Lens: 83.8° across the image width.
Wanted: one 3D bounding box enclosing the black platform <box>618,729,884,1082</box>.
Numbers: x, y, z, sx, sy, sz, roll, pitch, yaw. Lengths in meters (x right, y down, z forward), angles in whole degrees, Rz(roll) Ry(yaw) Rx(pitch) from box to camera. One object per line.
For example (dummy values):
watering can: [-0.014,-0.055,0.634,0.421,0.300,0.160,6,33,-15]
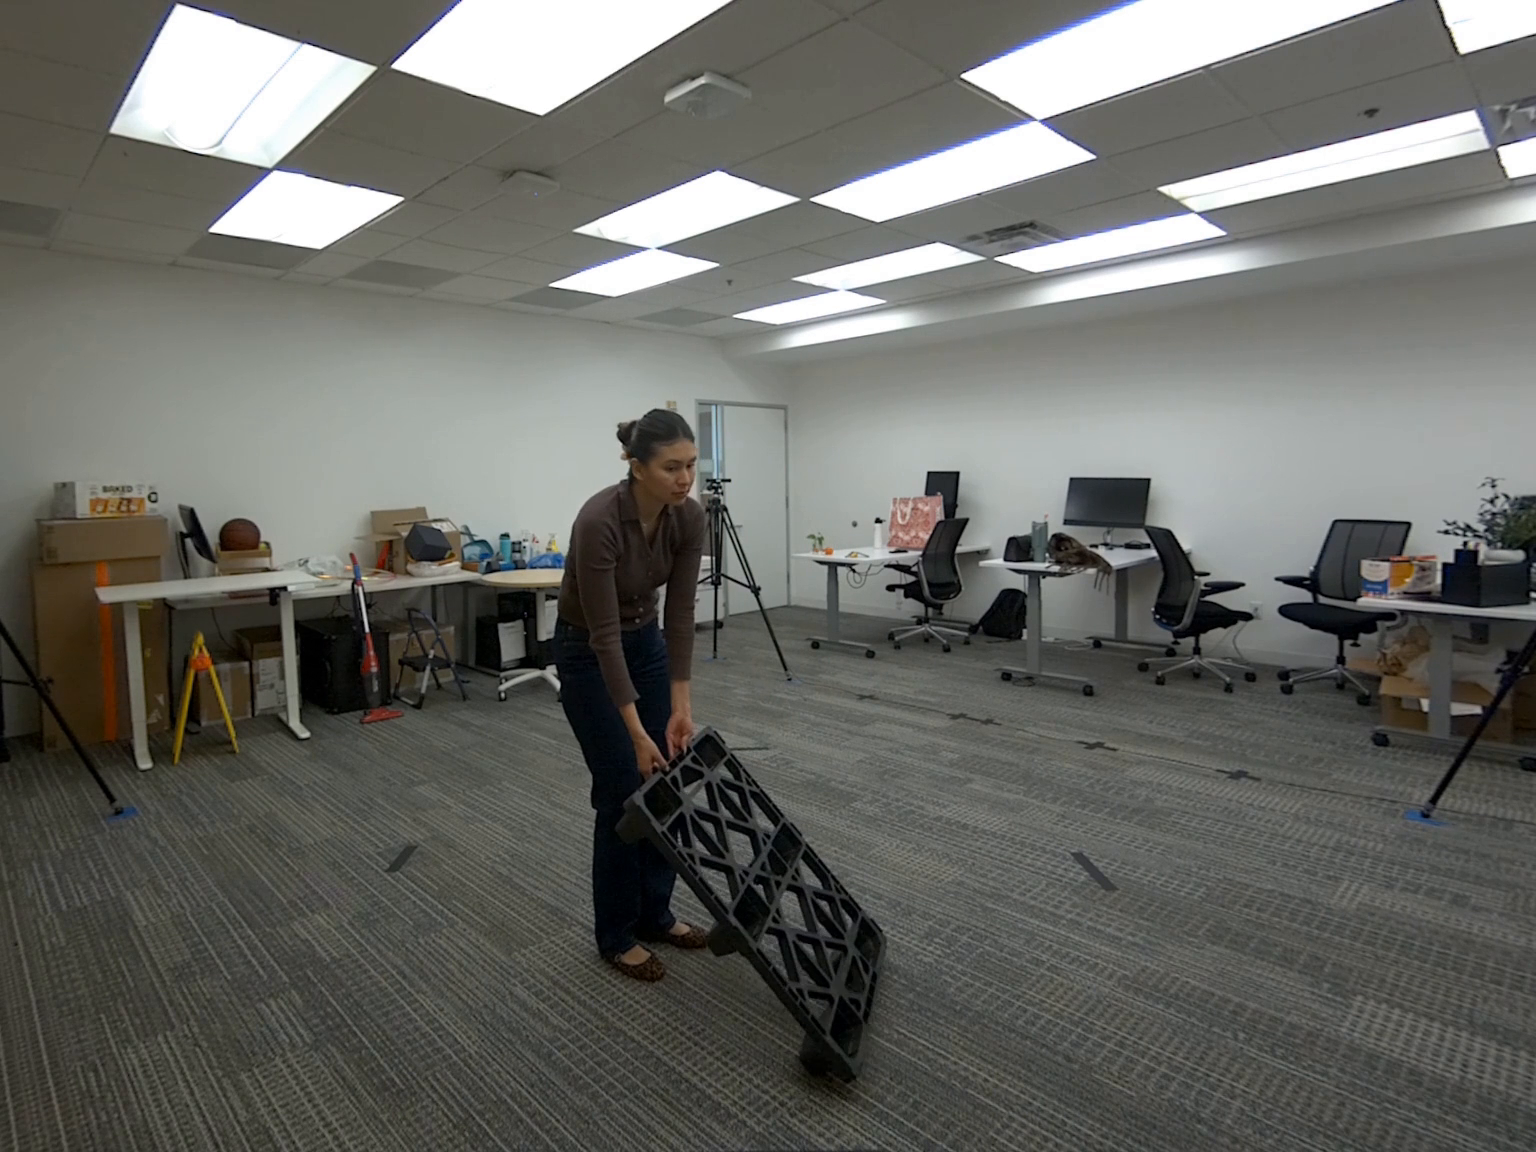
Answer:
black platform: [-0.027,0.826,2.257,0.143,0.814,0.598,-43,-7,14]
